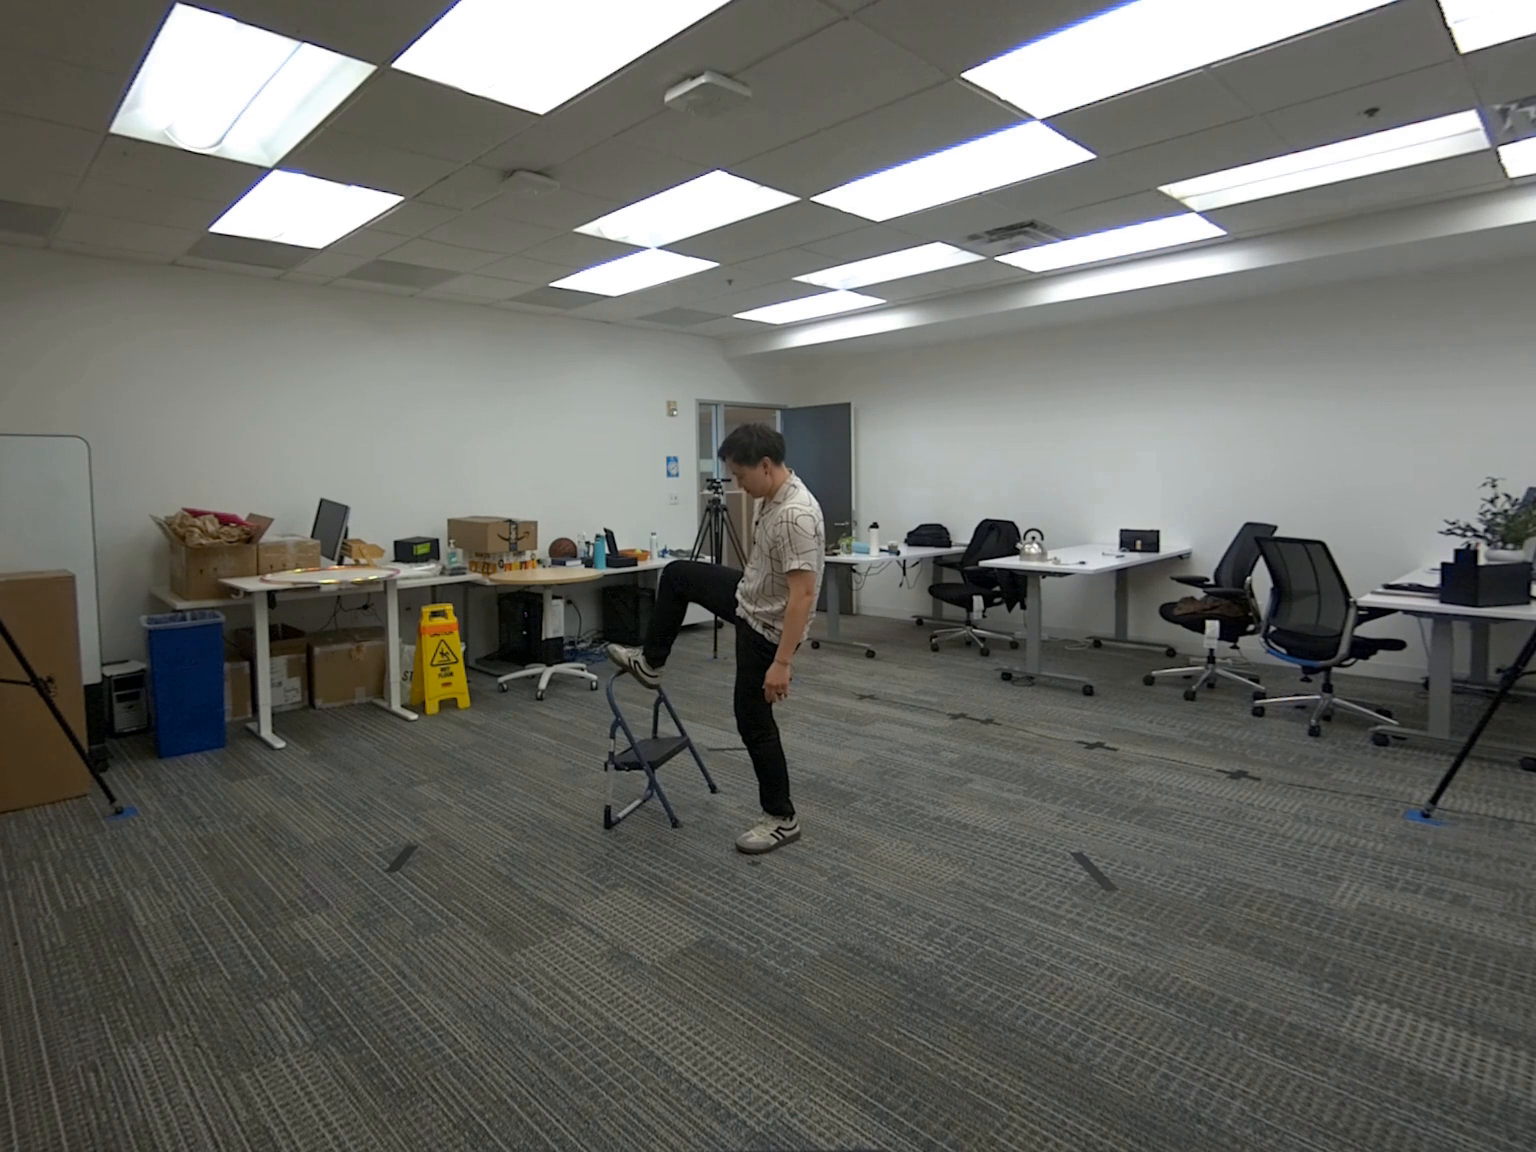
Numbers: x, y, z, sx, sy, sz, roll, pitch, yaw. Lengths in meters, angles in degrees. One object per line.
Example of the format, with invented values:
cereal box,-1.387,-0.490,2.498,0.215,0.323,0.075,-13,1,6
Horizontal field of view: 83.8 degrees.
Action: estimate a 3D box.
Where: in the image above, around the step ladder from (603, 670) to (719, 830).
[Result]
step ladder,-0.482,0.679,3.562,0.355,0.606,0.424,-10,1,19
